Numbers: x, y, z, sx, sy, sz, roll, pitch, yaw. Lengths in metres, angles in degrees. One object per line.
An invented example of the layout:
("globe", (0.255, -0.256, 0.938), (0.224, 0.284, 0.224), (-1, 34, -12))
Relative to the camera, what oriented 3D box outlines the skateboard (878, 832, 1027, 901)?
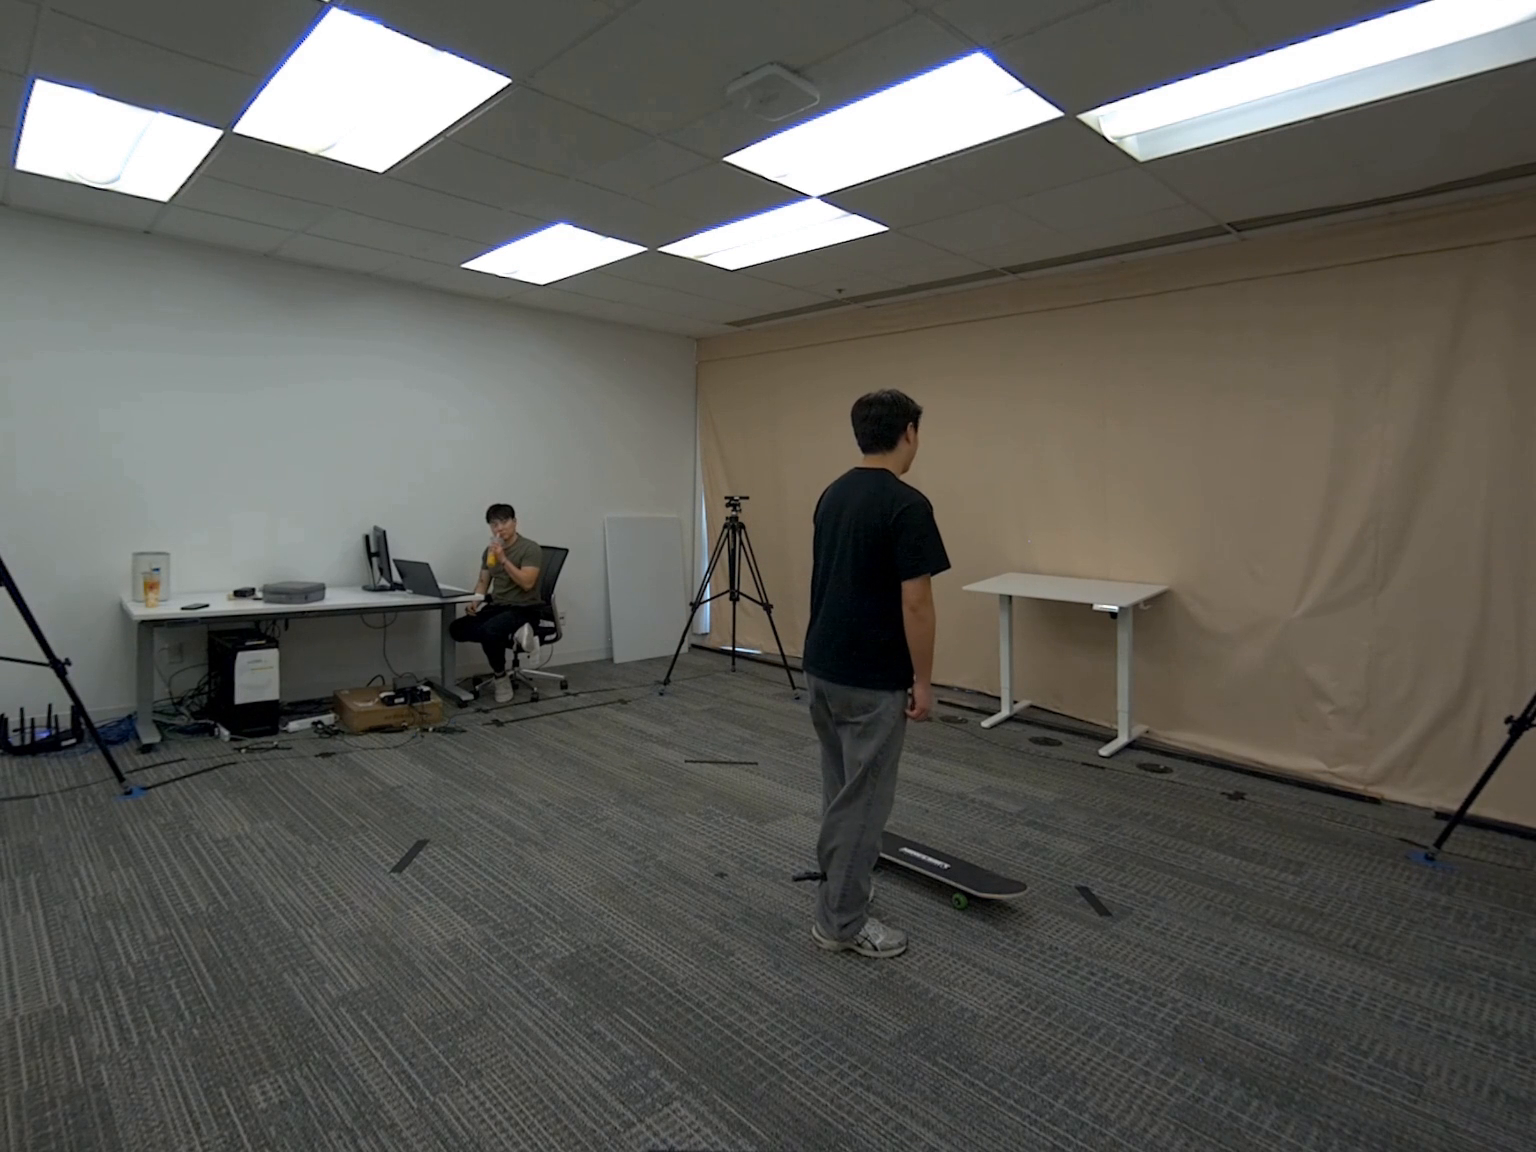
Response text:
("skateboard", (0.568, 1.069, 3.092), (0.189, 0.110, 0.806), (-2, 6, -43))
